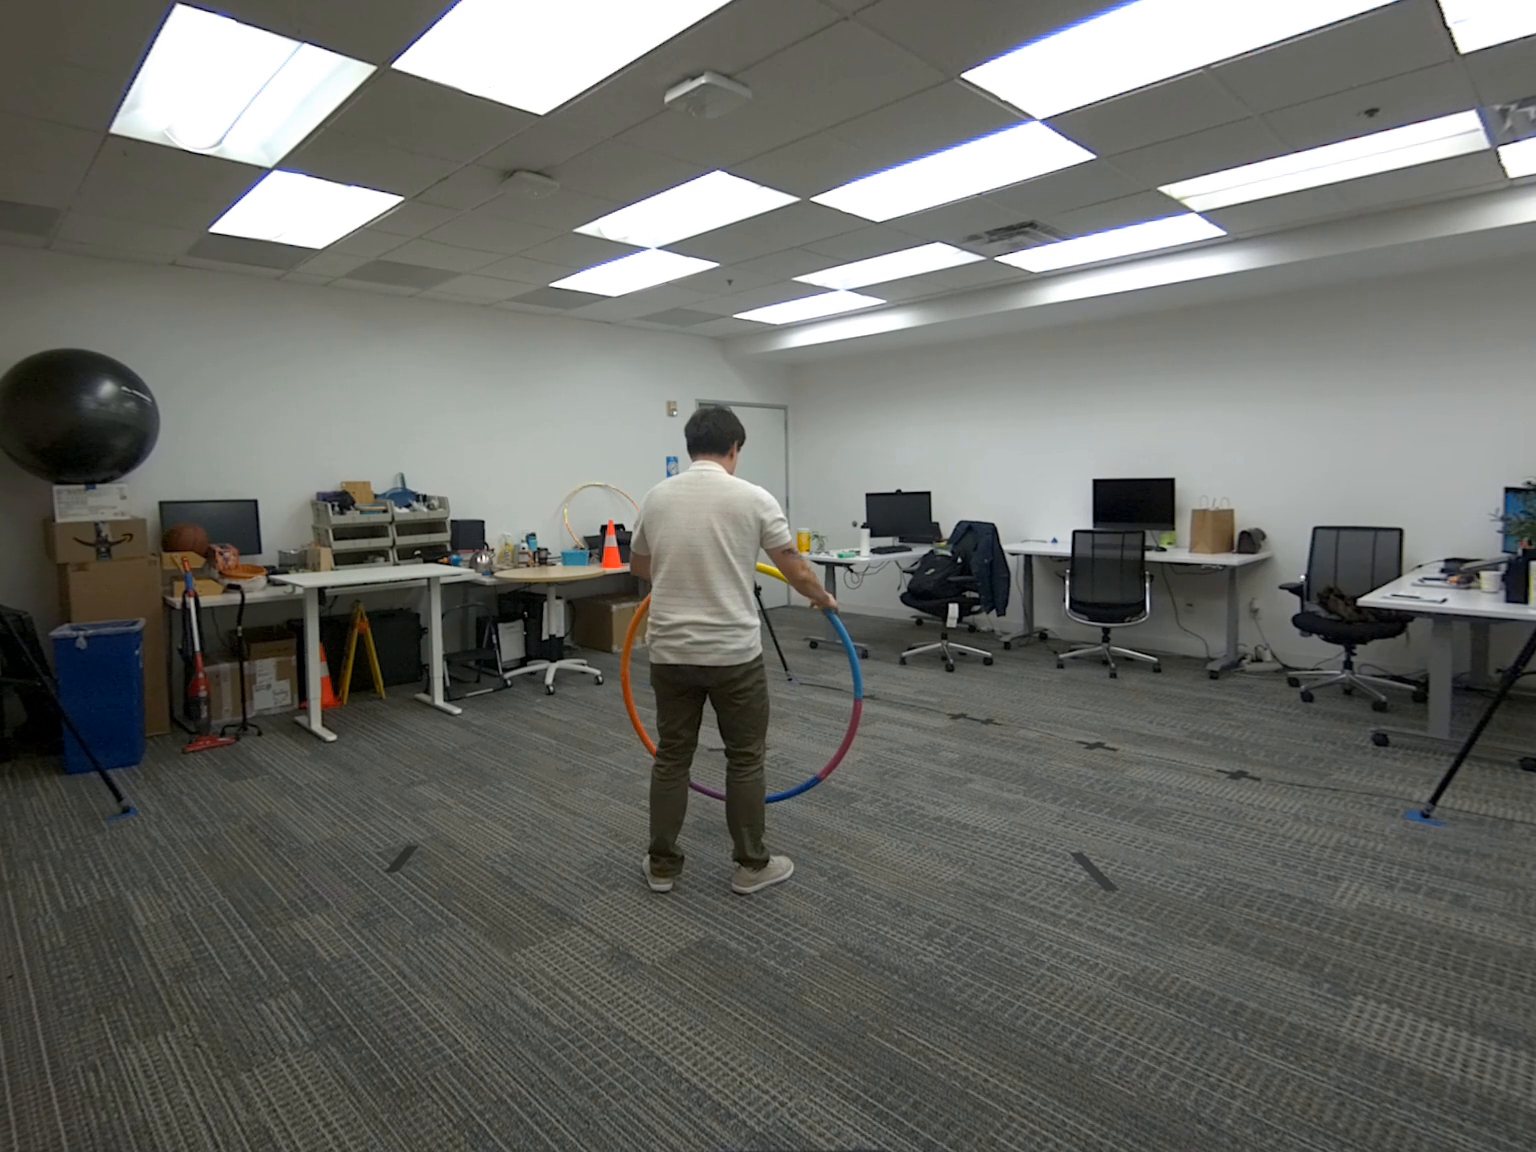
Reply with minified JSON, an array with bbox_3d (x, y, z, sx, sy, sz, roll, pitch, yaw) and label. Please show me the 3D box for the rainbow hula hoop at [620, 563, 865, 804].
[{"bbox_3d":[-0.121,0.428,3.359,0.994,0.971,0.035,1,8,17],"label":"rainbow hula hoop"}]
